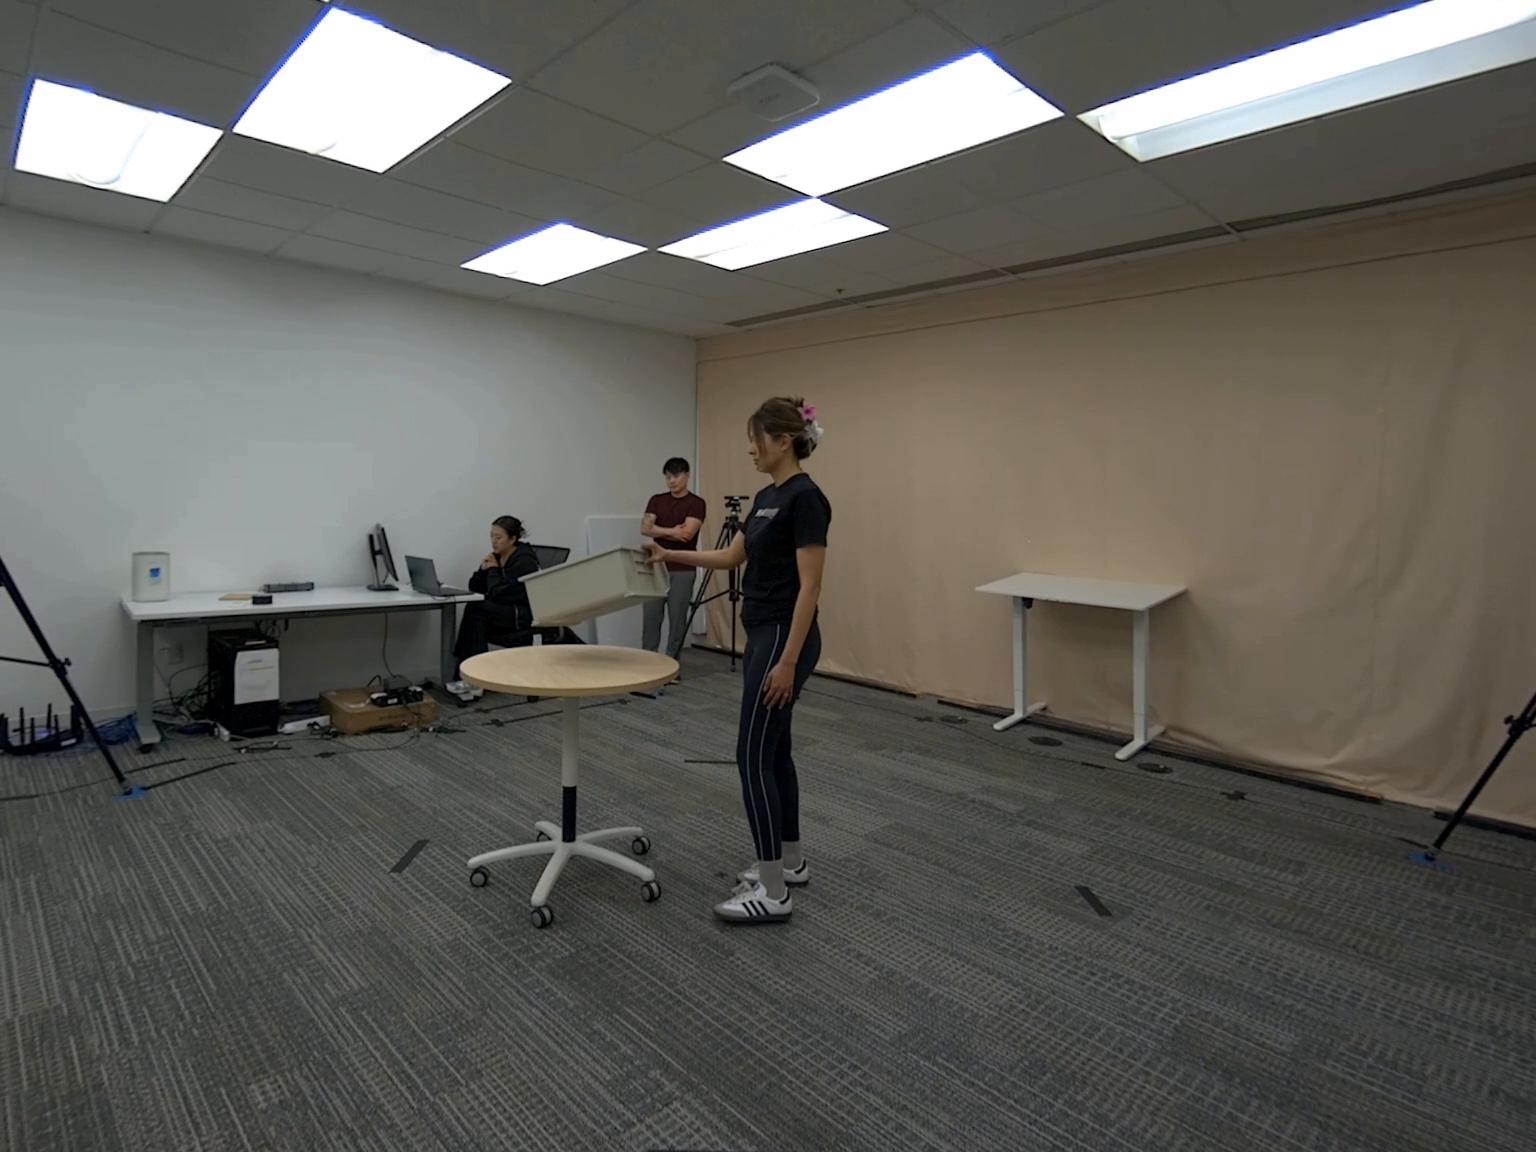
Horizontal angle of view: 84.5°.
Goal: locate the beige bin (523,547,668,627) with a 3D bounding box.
[{"bbox_3d":[-0.630,0.049,3.110,0.426,0.190,0.371,-16,-7,16],"label":"beige bin"}]
